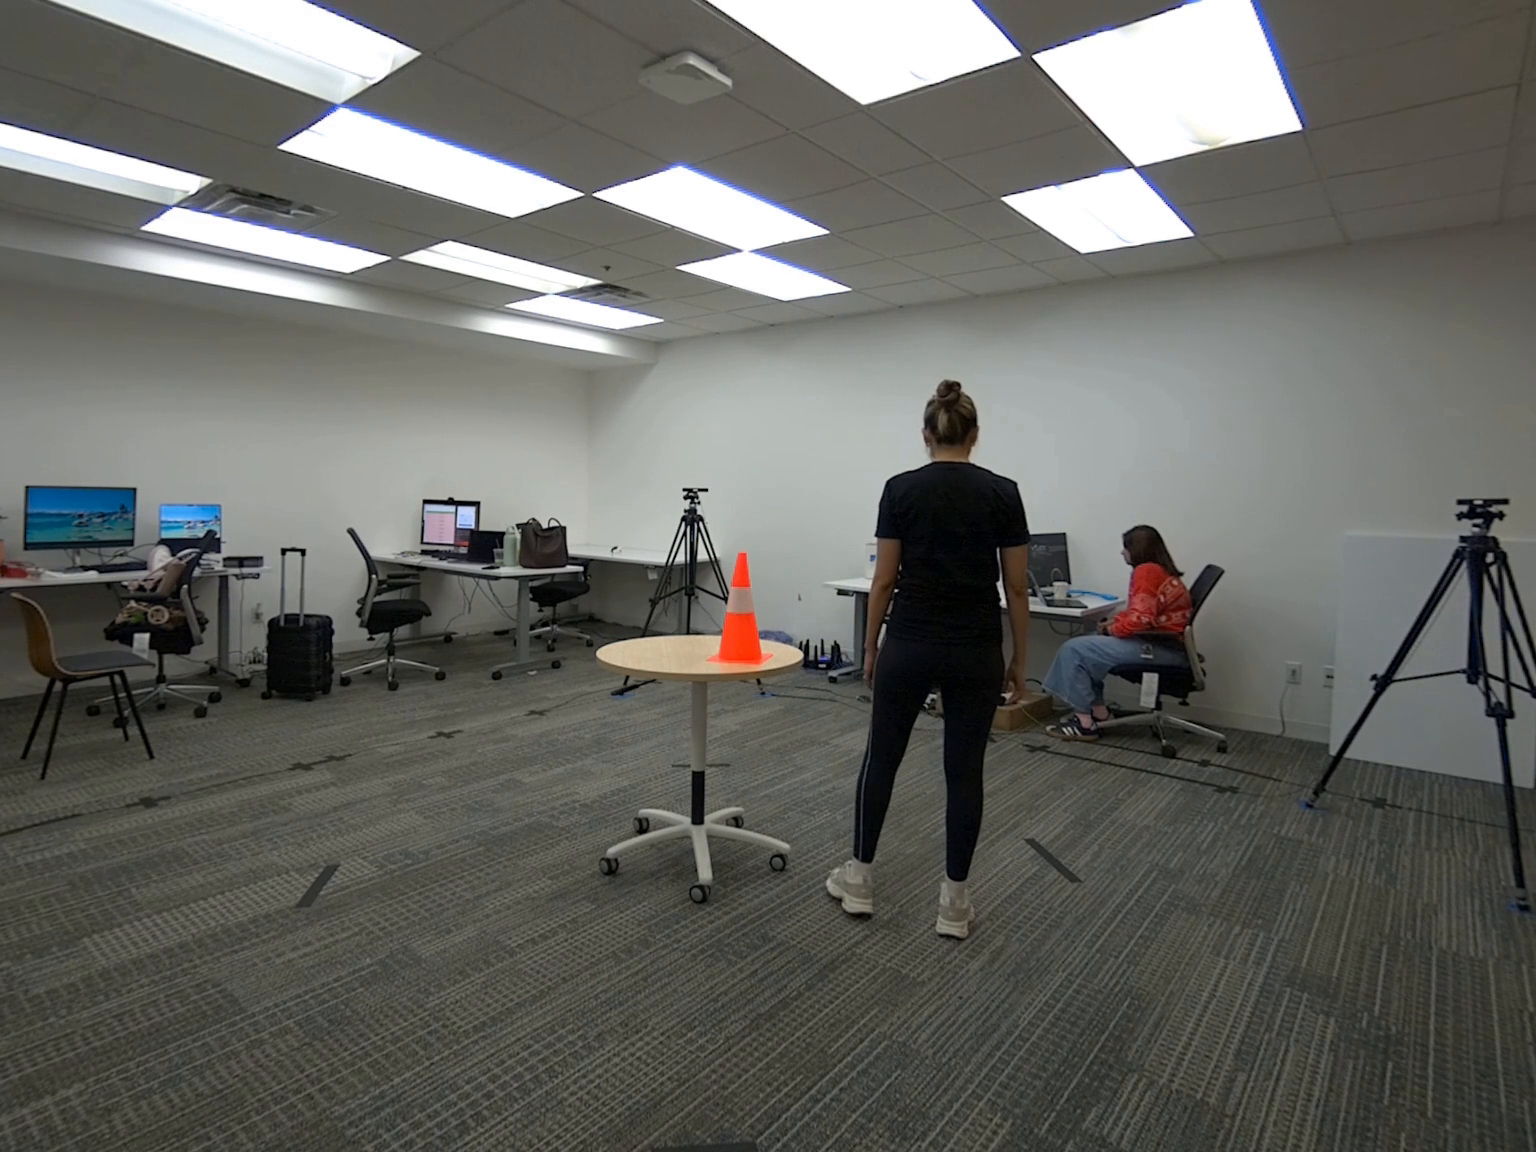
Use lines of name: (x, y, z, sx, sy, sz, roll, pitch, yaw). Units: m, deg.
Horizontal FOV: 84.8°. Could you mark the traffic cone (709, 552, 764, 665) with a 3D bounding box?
traffic cone: (-0.103, 0.108, 3.044, 0.209, 0.383, 0.200, 3, 3, 17)
